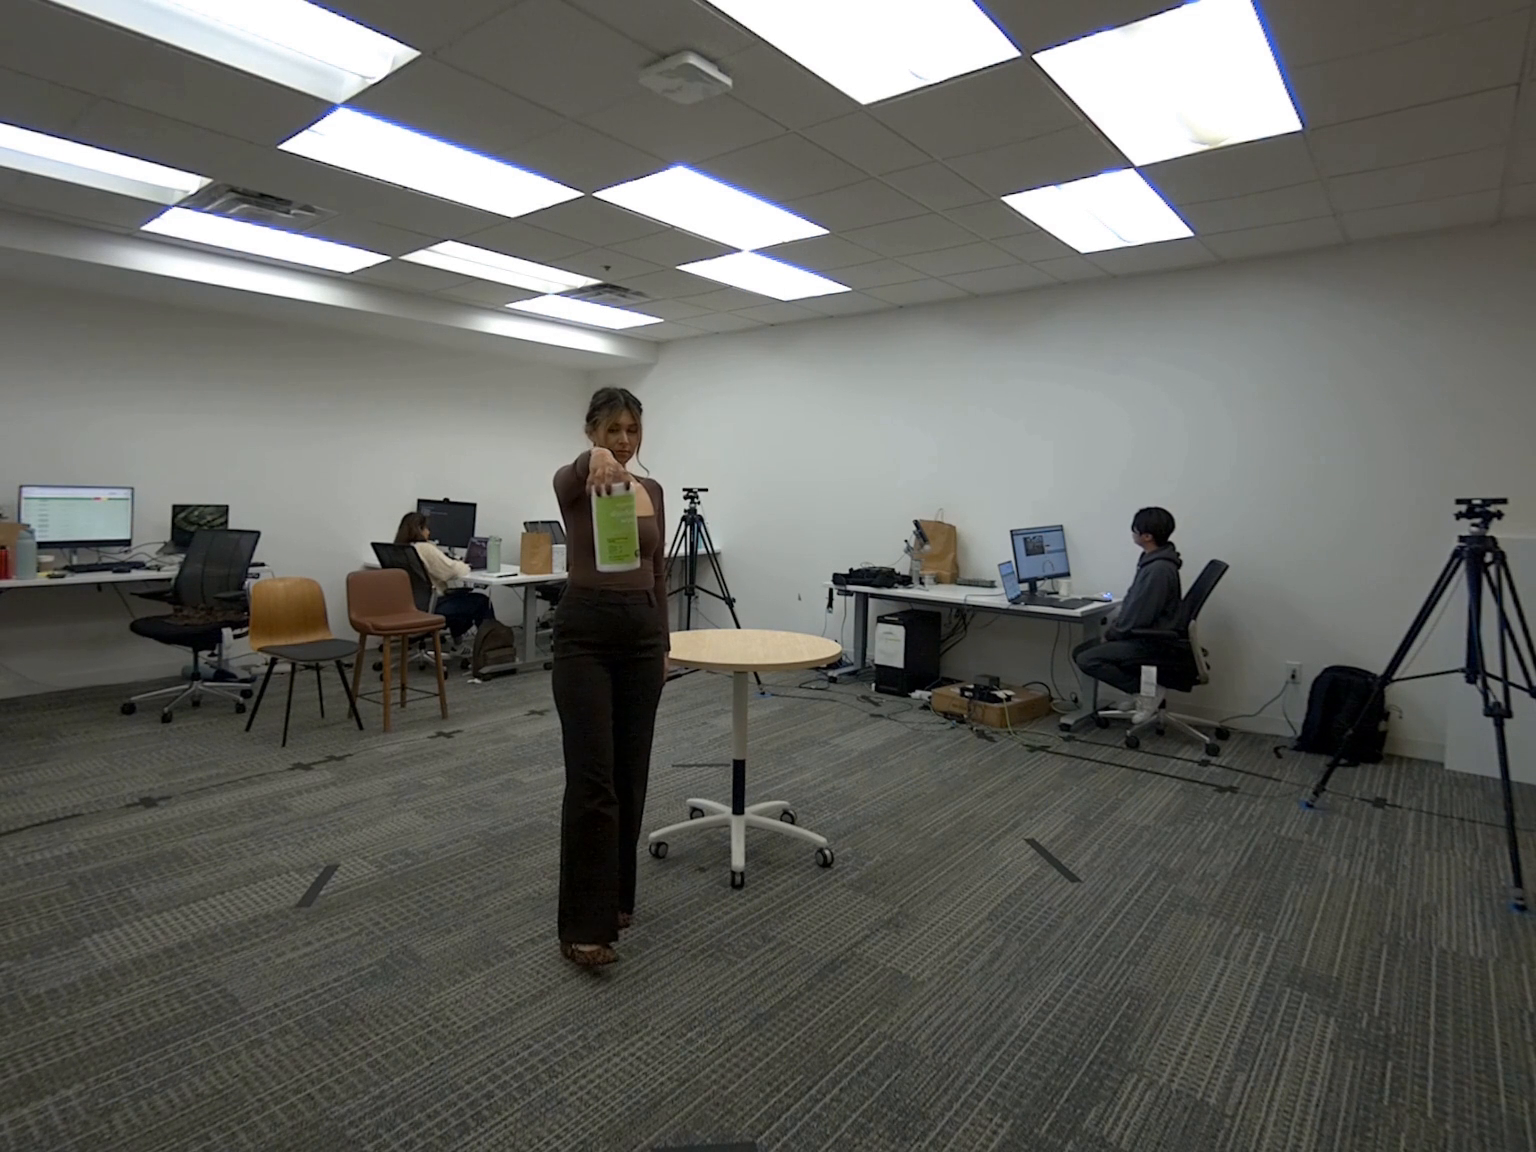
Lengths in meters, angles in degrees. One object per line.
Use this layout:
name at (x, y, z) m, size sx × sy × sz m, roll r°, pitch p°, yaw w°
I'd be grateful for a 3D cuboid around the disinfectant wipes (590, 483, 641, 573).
disinfectant wipes at (-0.392, -0.123, 2.105) m, size 0.118 × 0.216 × 0.119 m, roll -3°, pitch 8°, yaw -1°
